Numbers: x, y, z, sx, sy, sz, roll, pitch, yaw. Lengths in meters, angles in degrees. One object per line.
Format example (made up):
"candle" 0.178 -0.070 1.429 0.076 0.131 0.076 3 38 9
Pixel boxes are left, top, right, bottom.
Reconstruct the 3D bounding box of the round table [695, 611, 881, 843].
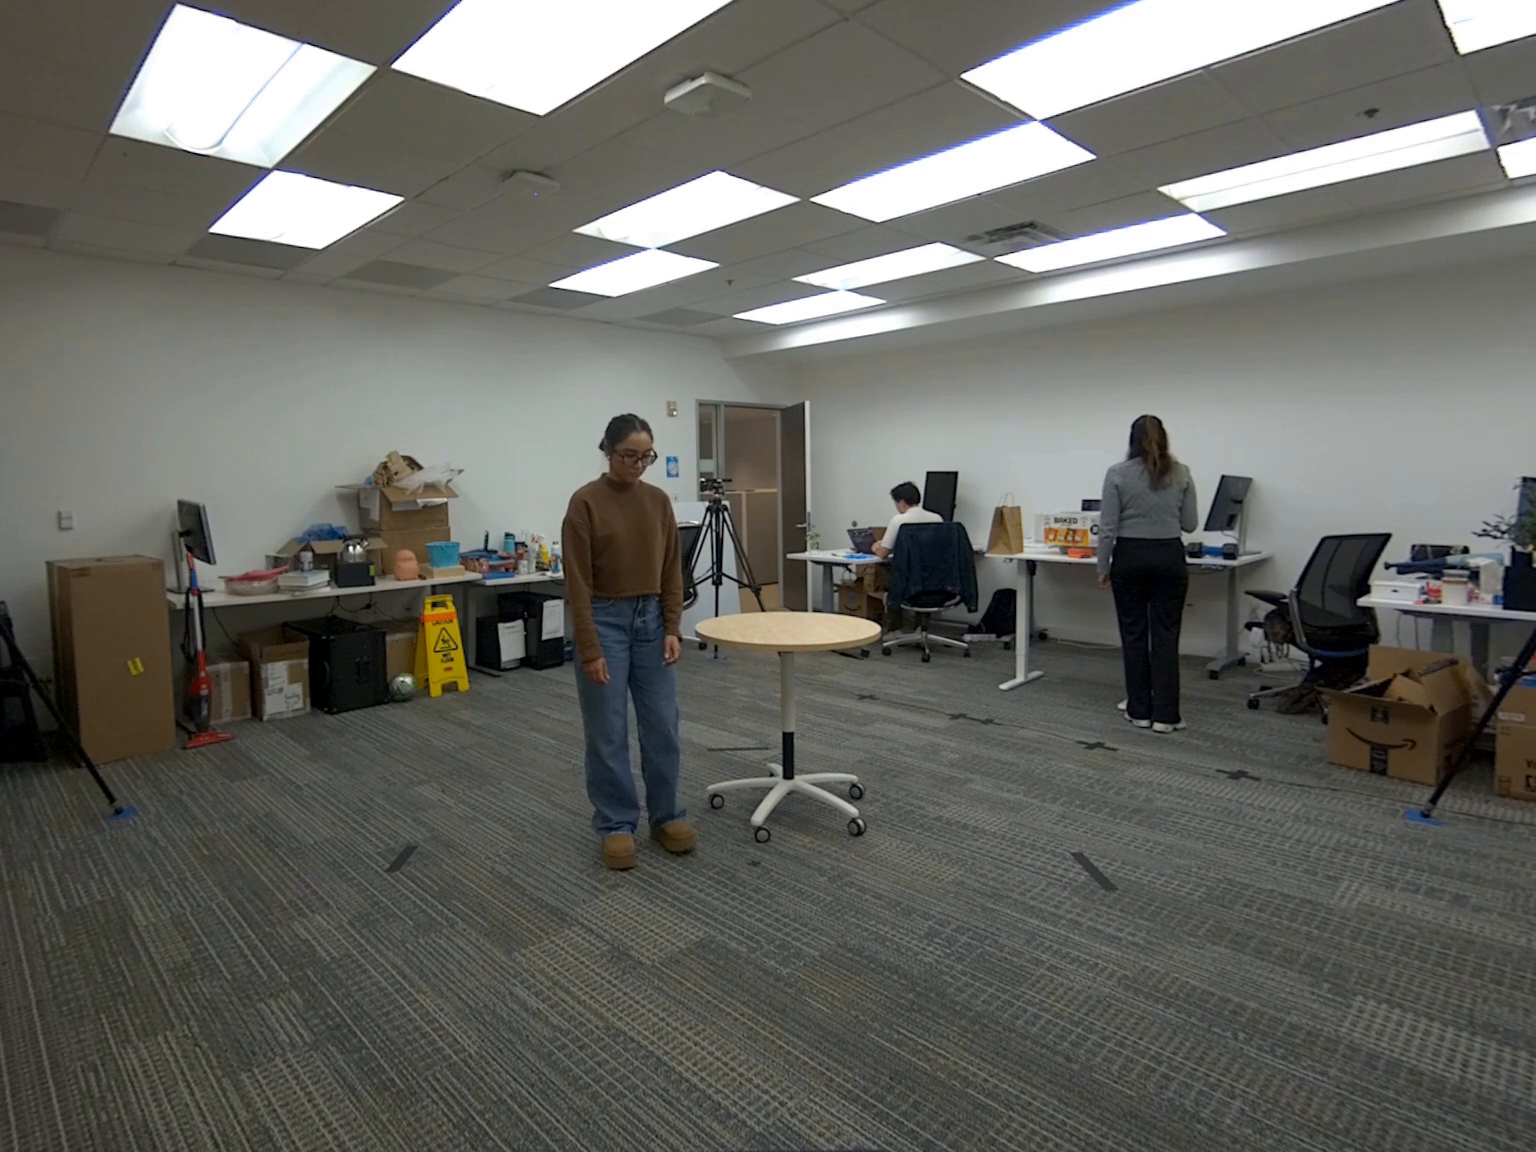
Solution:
"round table" 0.085 0.601 3.572 0.763 0.791 0.768 -1 5 -2
